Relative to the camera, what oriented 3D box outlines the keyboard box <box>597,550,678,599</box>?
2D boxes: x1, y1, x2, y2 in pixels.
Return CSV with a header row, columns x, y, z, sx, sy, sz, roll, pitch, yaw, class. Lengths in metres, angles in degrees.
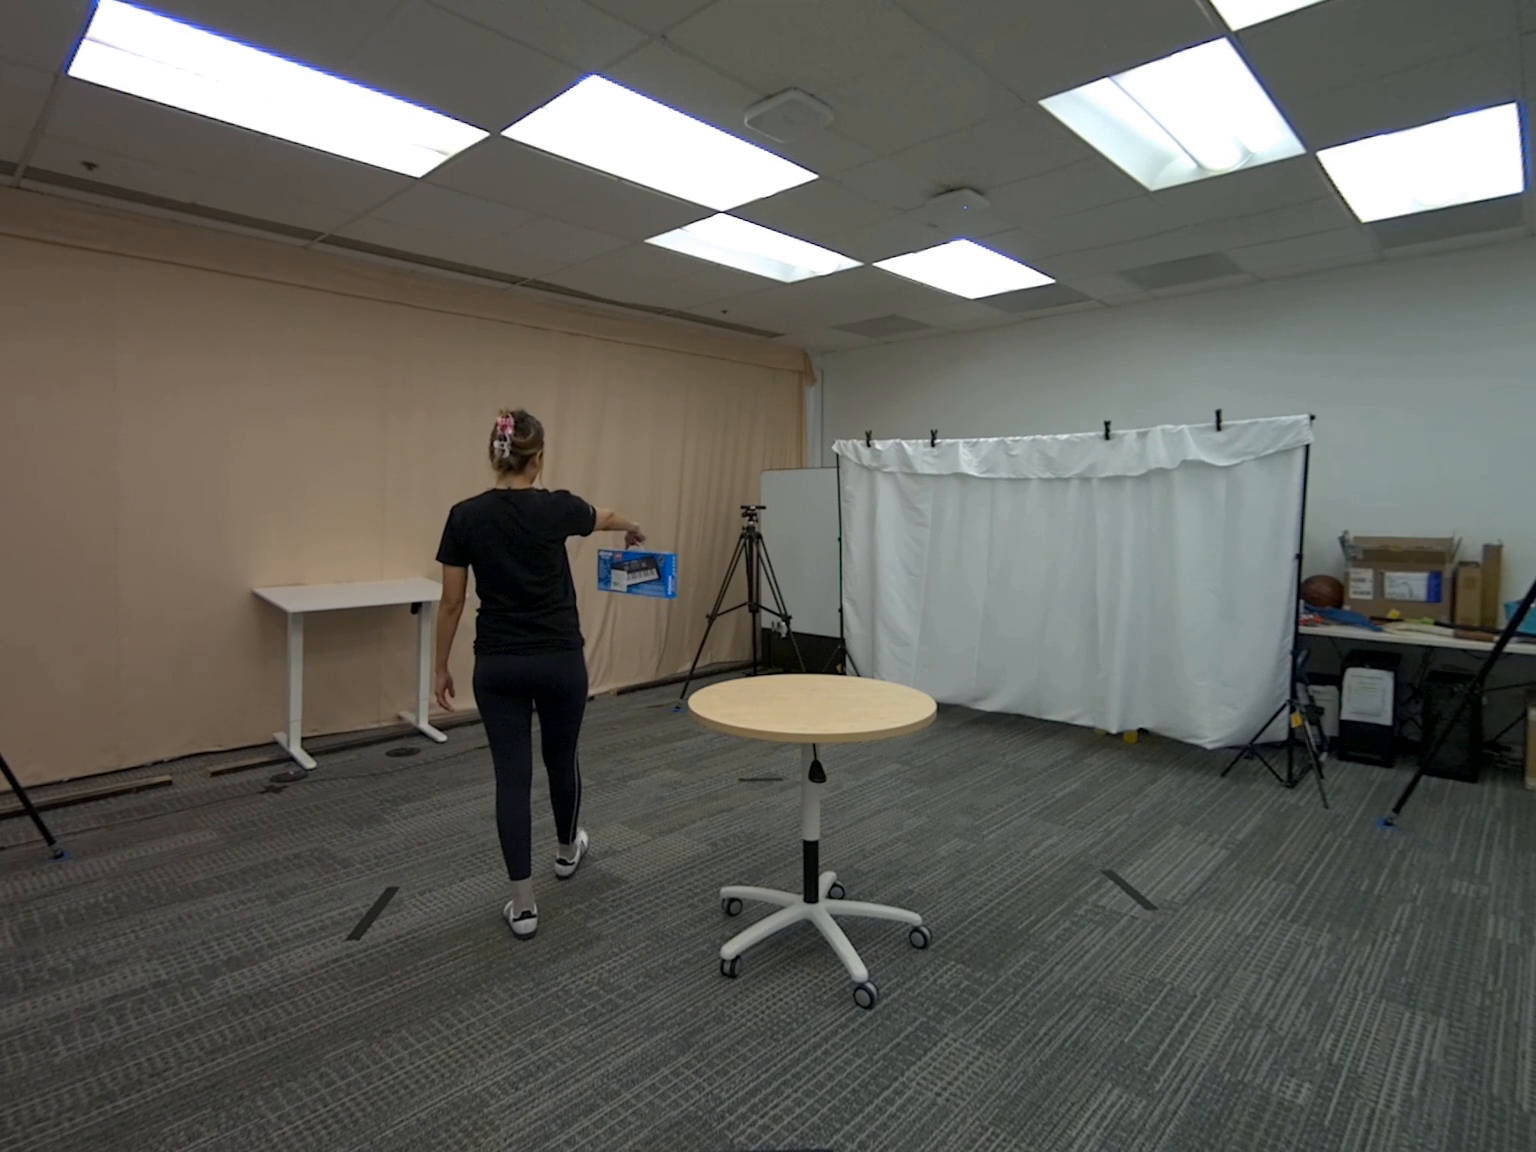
x,y,z,sx,sy,sz,roll,pitch,yaw,class
-0.533,-0.014,3.387,0.451,0.176,0.057,5,4,43,keyboard box
